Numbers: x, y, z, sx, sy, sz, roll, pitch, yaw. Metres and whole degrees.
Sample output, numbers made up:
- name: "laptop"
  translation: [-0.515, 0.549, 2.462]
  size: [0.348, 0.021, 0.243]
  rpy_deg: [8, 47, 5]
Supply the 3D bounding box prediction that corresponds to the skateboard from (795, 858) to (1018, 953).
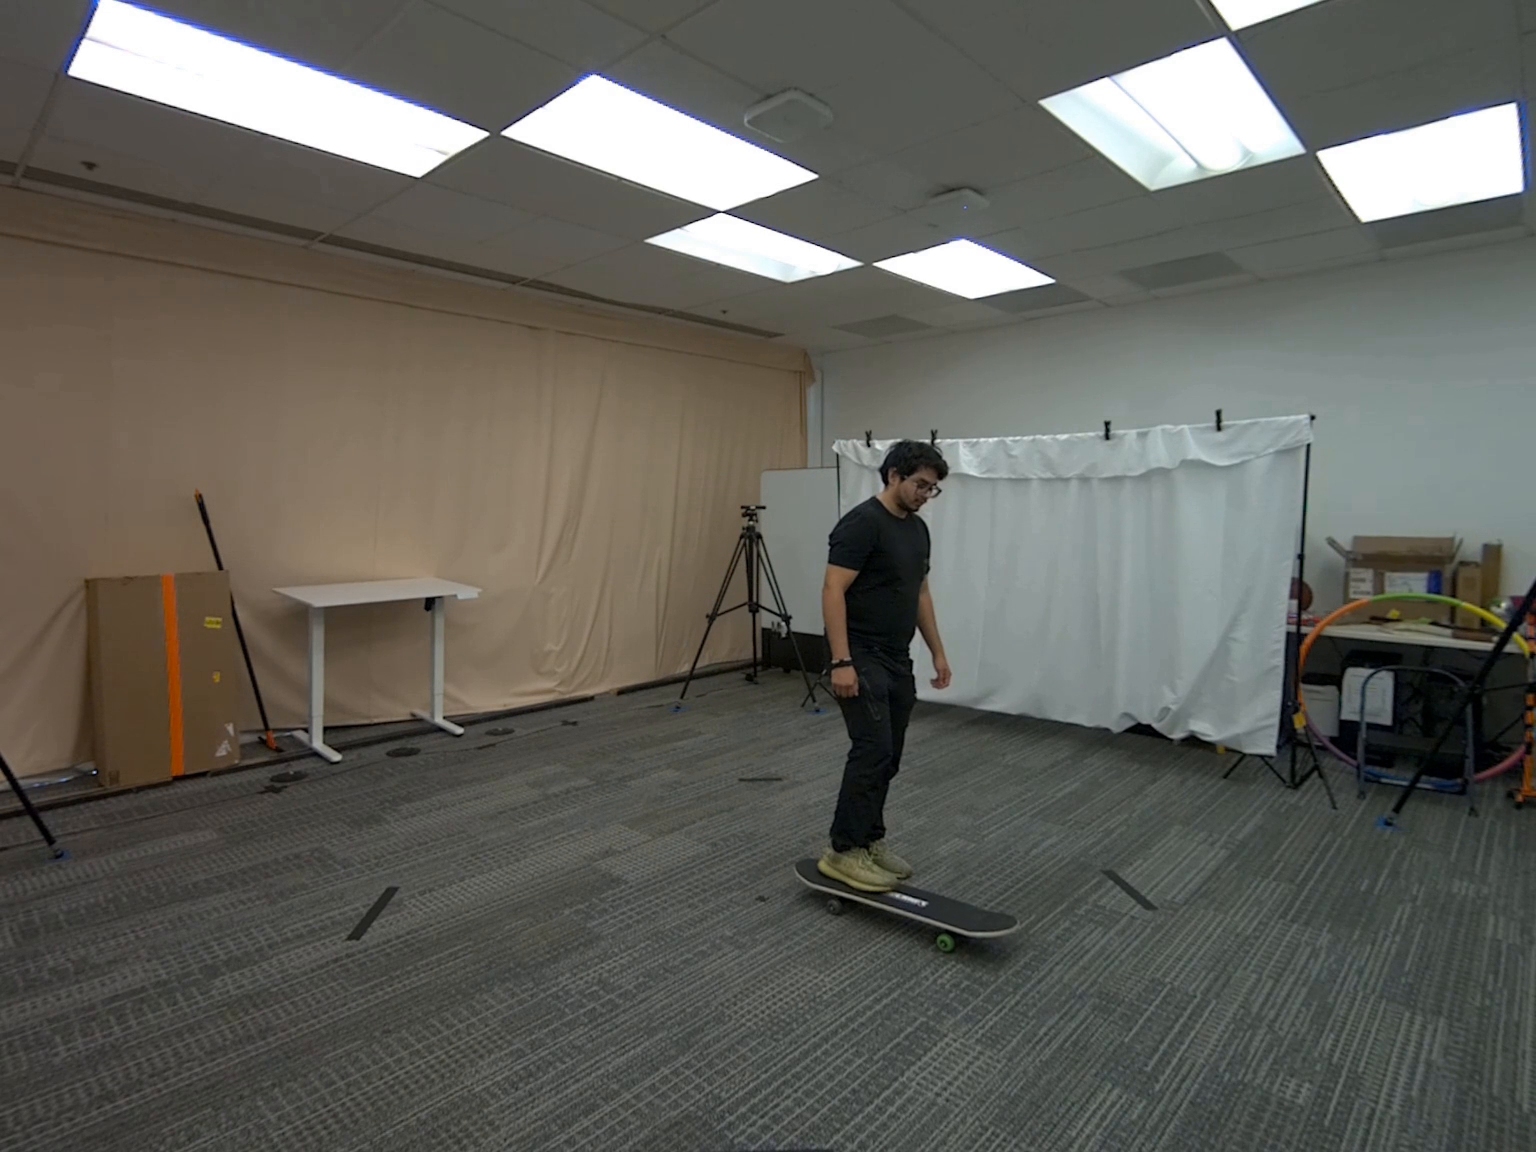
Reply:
- name: "skateboard"
  translation: [0.437, 1.100, 2.803]
  size: [0.810, 0.110, 0.188]
  rpy_deg: [2, 4, 37]
